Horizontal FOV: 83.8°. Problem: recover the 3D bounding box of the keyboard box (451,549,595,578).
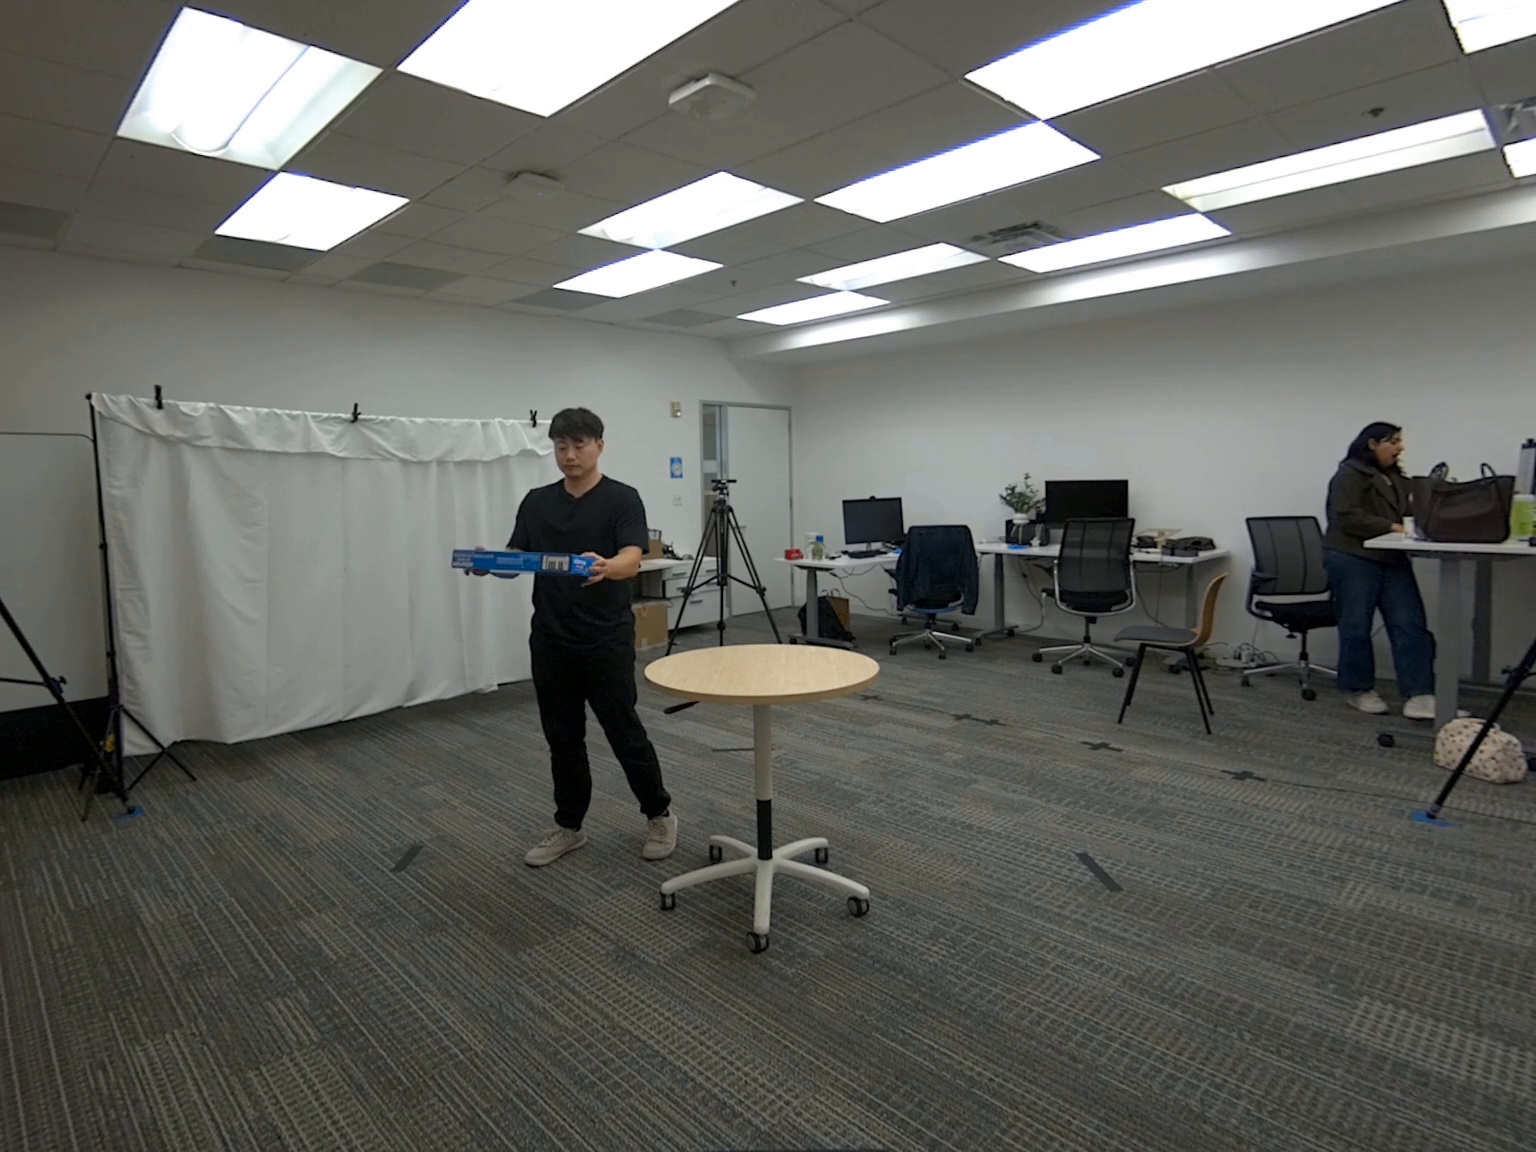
[{"bbox_3d":[-0.770,-0.036,2.713,0.445,0.059,0.172,2,-3,21],"label":"keyboard box"}]
